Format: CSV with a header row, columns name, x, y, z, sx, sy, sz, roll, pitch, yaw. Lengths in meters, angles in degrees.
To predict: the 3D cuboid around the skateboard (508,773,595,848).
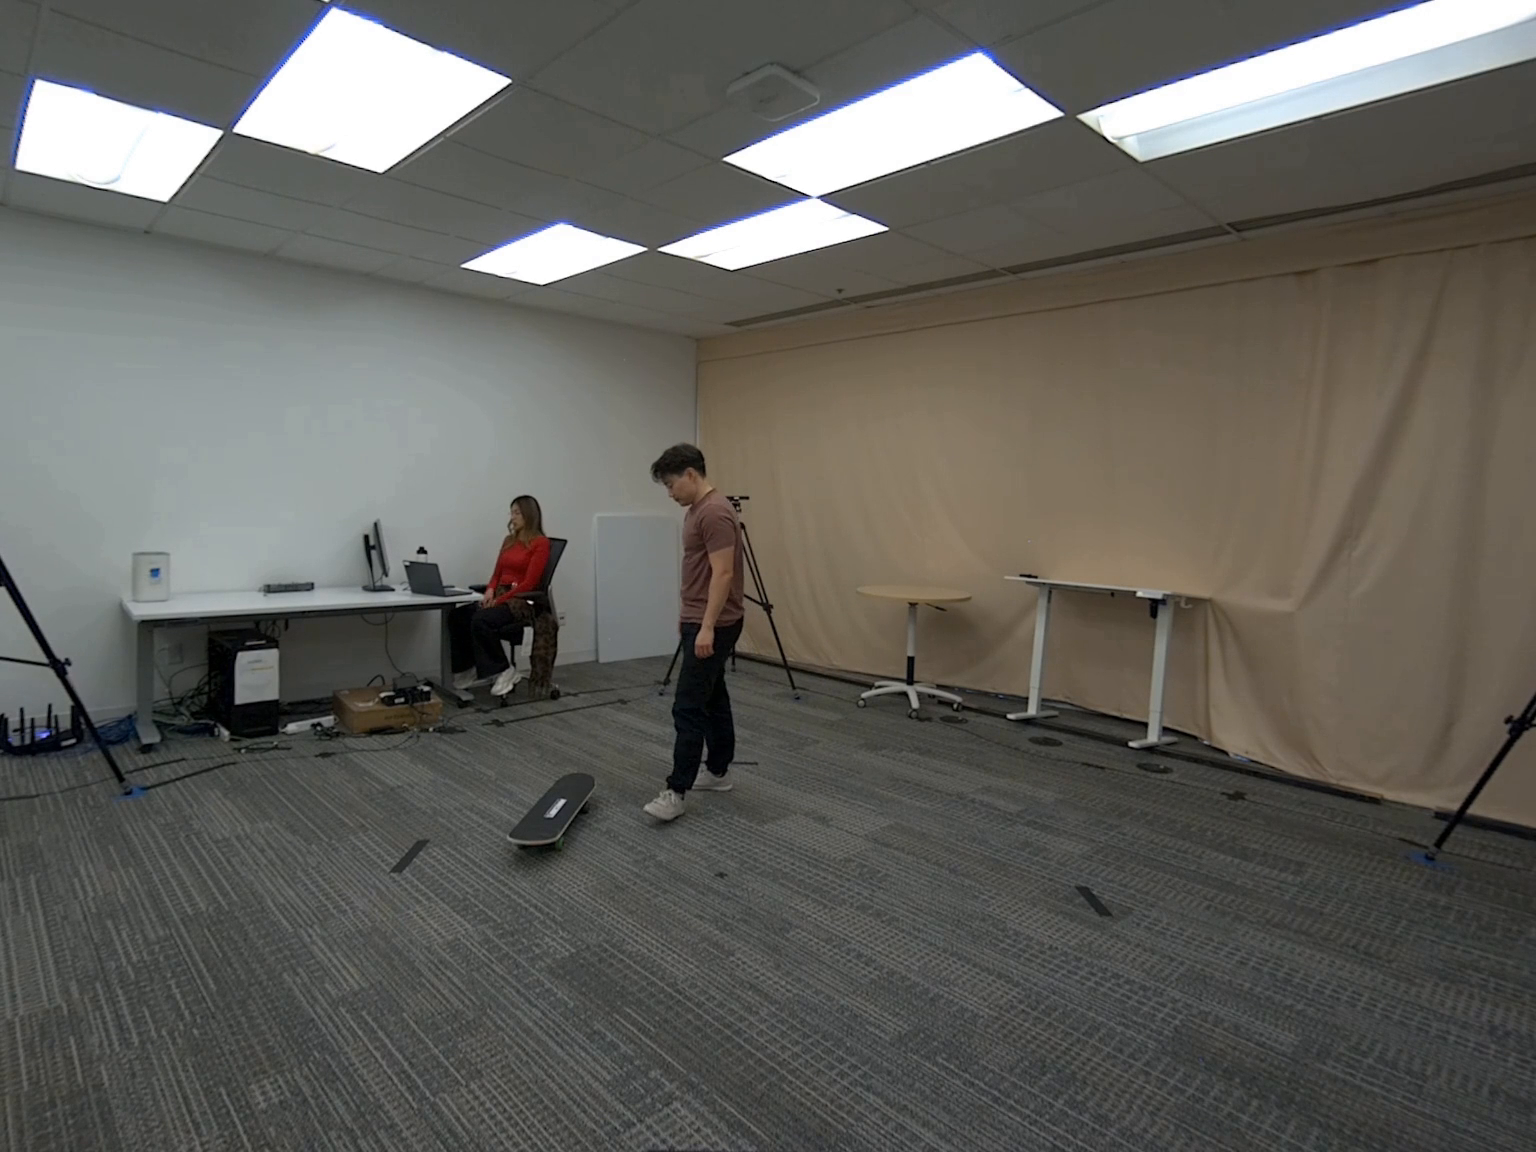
name,x,y,z,sx,sy,sz,roll,pitch,yaw
skateboard,-0.895,0.998,3.496,0.194,0.110,0.785,2,5,3
